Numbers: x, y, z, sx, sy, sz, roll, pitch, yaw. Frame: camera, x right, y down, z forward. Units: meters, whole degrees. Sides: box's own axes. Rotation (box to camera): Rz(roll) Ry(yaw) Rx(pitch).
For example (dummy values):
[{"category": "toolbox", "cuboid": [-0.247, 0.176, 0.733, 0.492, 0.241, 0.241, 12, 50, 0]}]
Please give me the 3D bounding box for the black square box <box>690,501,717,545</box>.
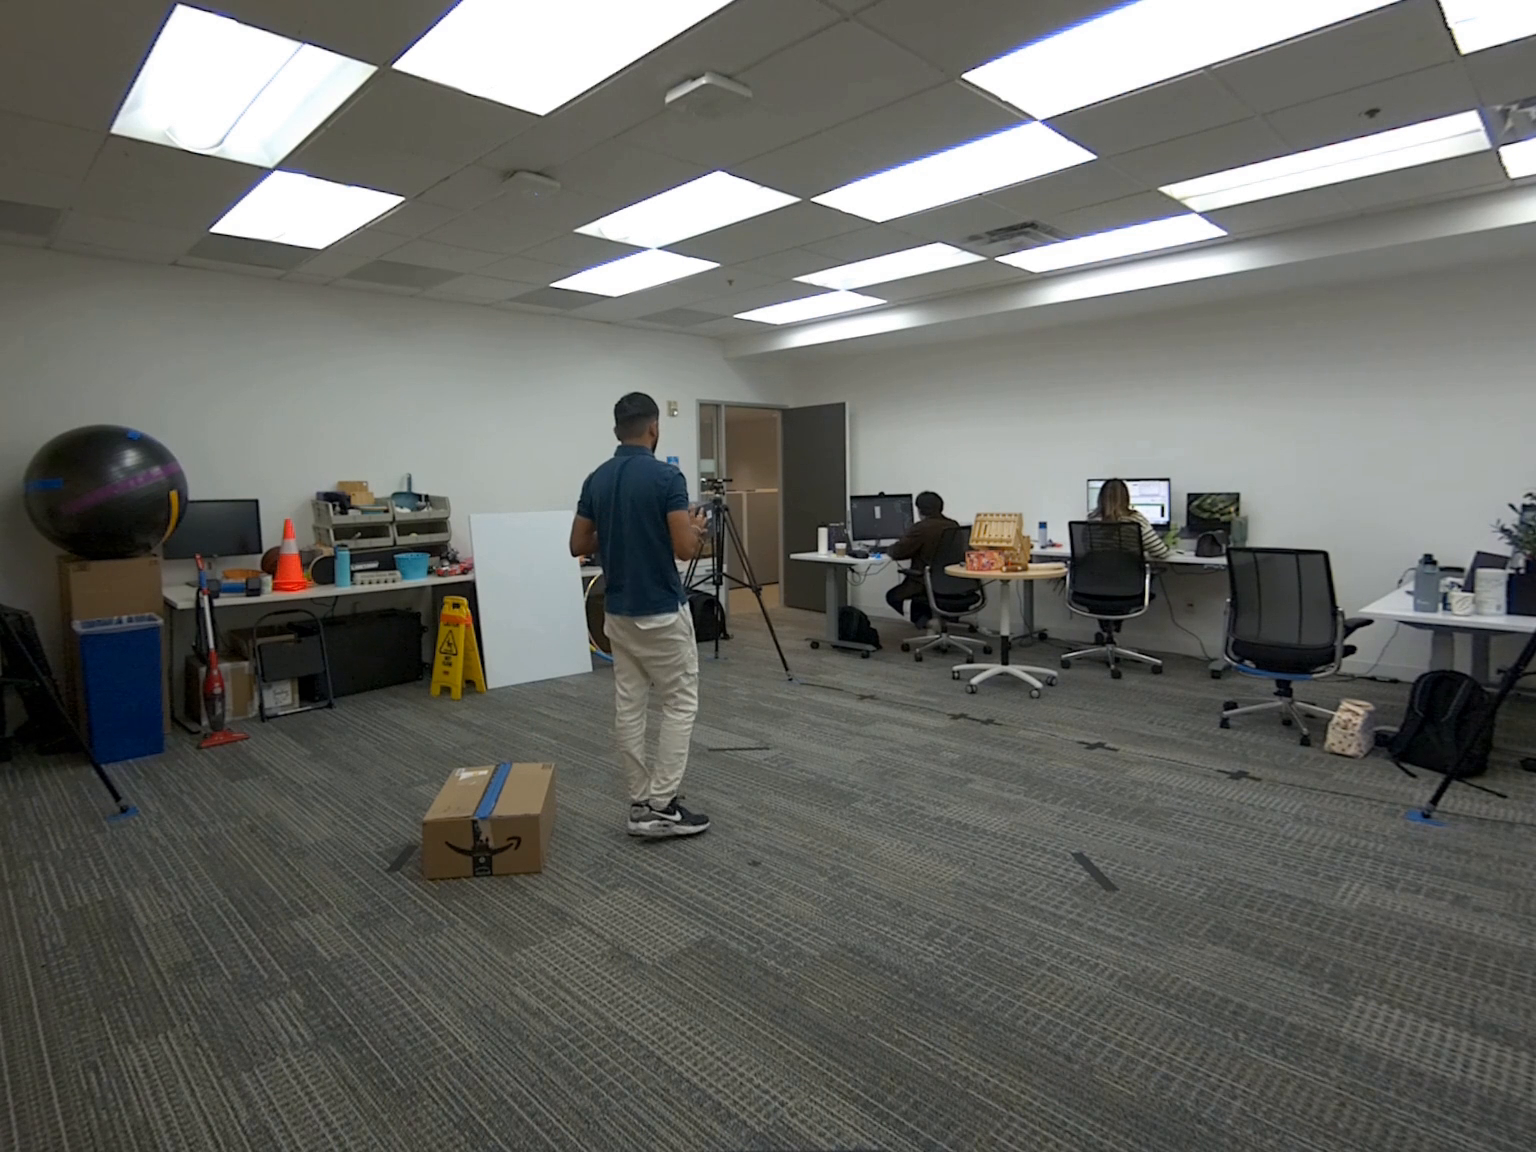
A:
[{"category": "black square box", "cuboid": [-0.379, -0.226, 3.698, 0.233, 0.154, 0.215, 2, 15, 24]}]
